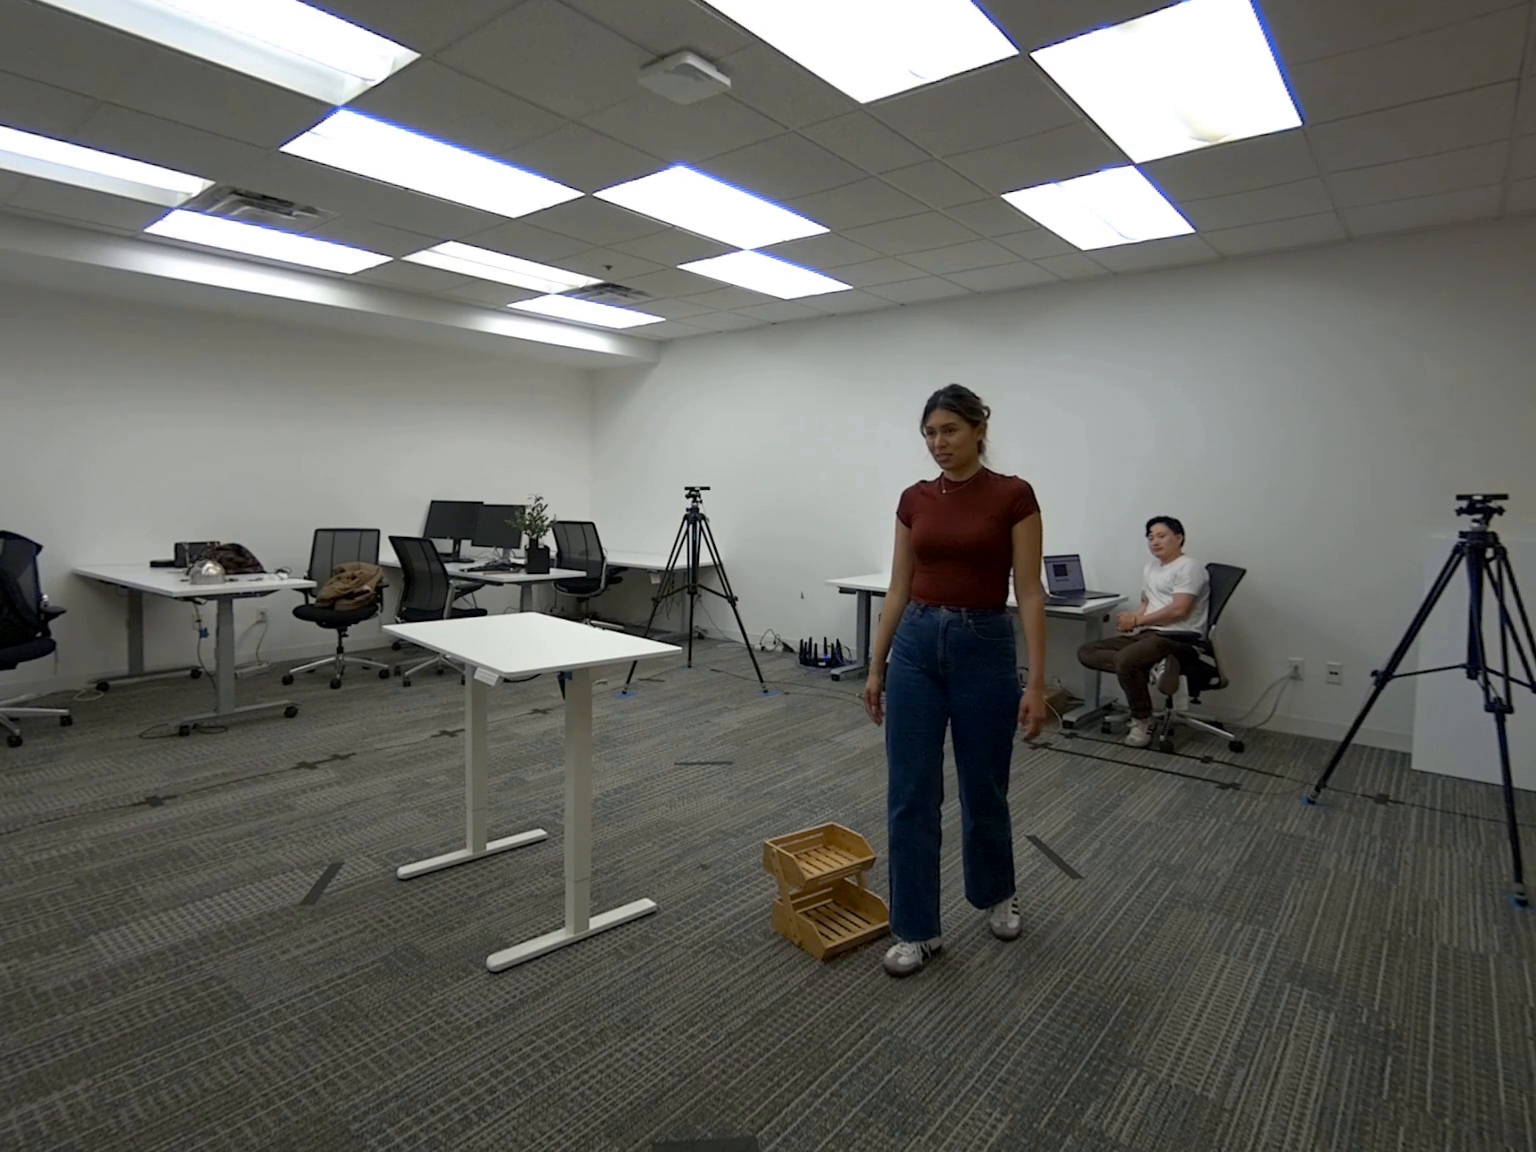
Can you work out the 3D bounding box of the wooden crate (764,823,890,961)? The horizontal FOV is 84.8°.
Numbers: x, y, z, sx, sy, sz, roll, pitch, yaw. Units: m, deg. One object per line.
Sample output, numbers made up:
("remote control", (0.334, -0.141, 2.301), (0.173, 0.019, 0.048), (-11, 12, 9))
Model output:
("wooden crate", (0.190, 0.980, 2.691), (0.315, 0.272, 0.312), (-2, 5, -37))
